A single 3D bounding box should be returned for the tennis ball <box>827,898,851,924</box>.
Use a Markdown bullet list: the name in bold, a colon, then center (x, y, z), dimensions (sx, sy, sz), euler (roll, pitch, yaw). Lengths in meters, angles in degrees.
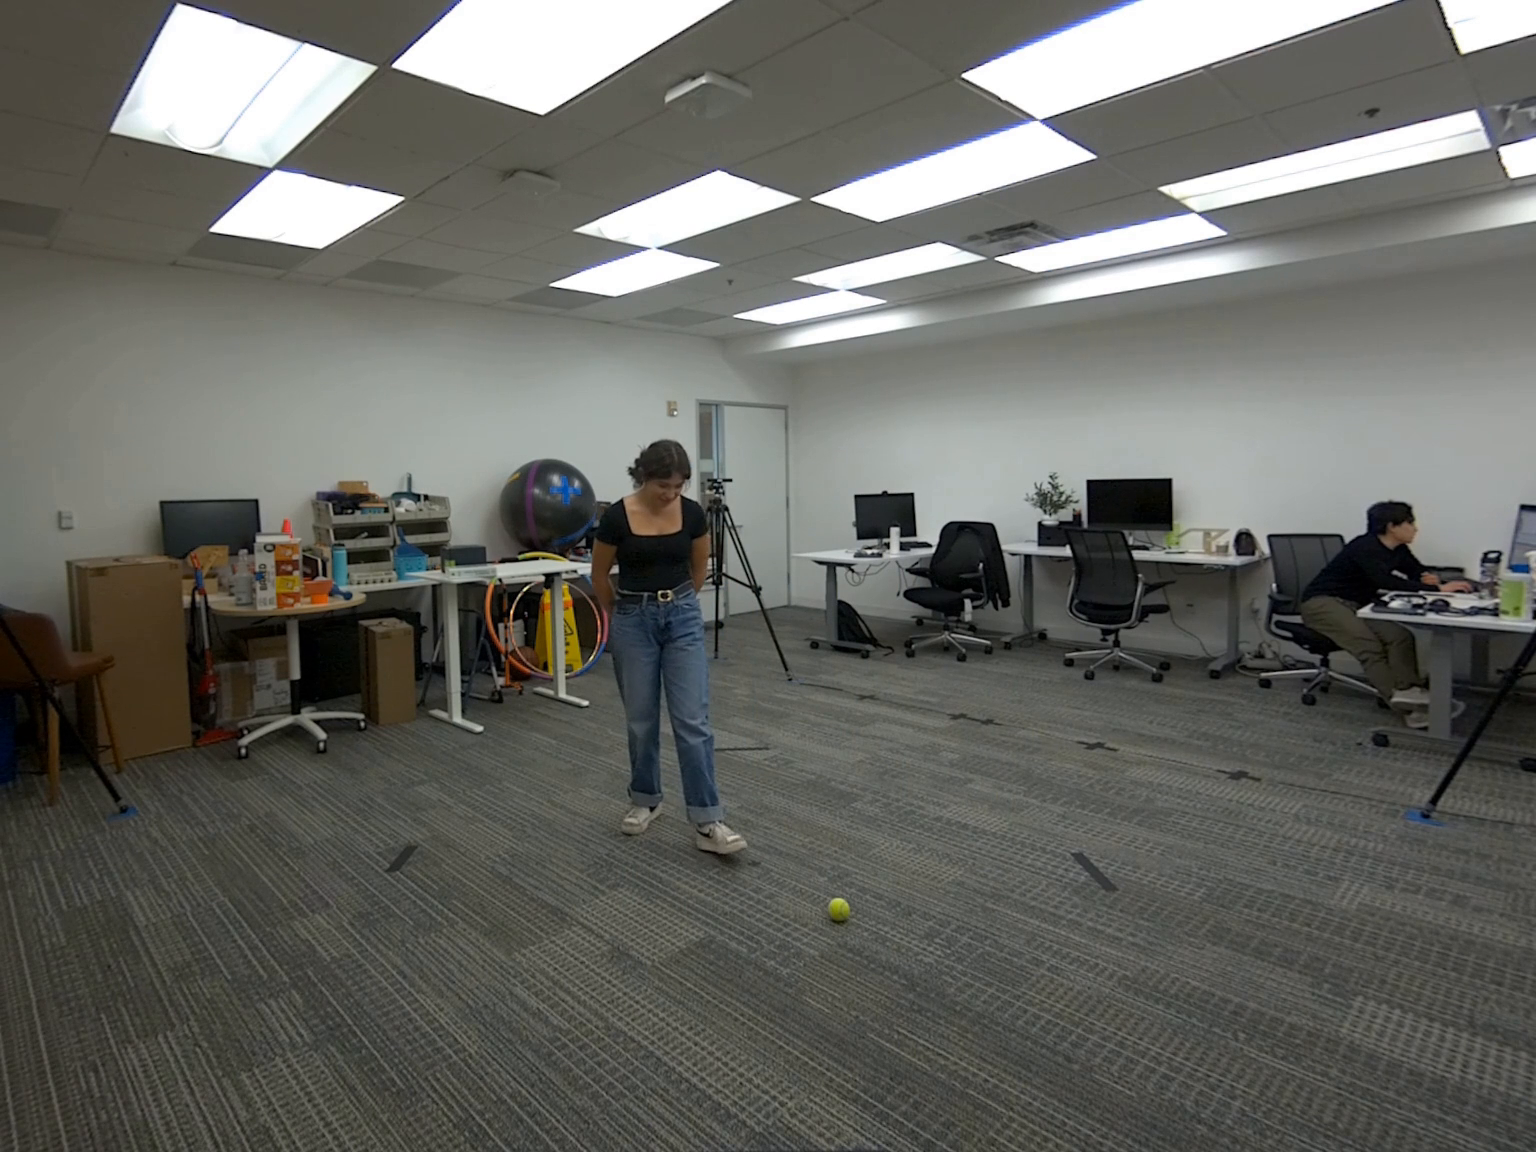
- **tennis ball**: center (0.236, 1.036, 2.693), dimensions (0.066, 0.066, 0.067), euler (-1, 5, -2)
